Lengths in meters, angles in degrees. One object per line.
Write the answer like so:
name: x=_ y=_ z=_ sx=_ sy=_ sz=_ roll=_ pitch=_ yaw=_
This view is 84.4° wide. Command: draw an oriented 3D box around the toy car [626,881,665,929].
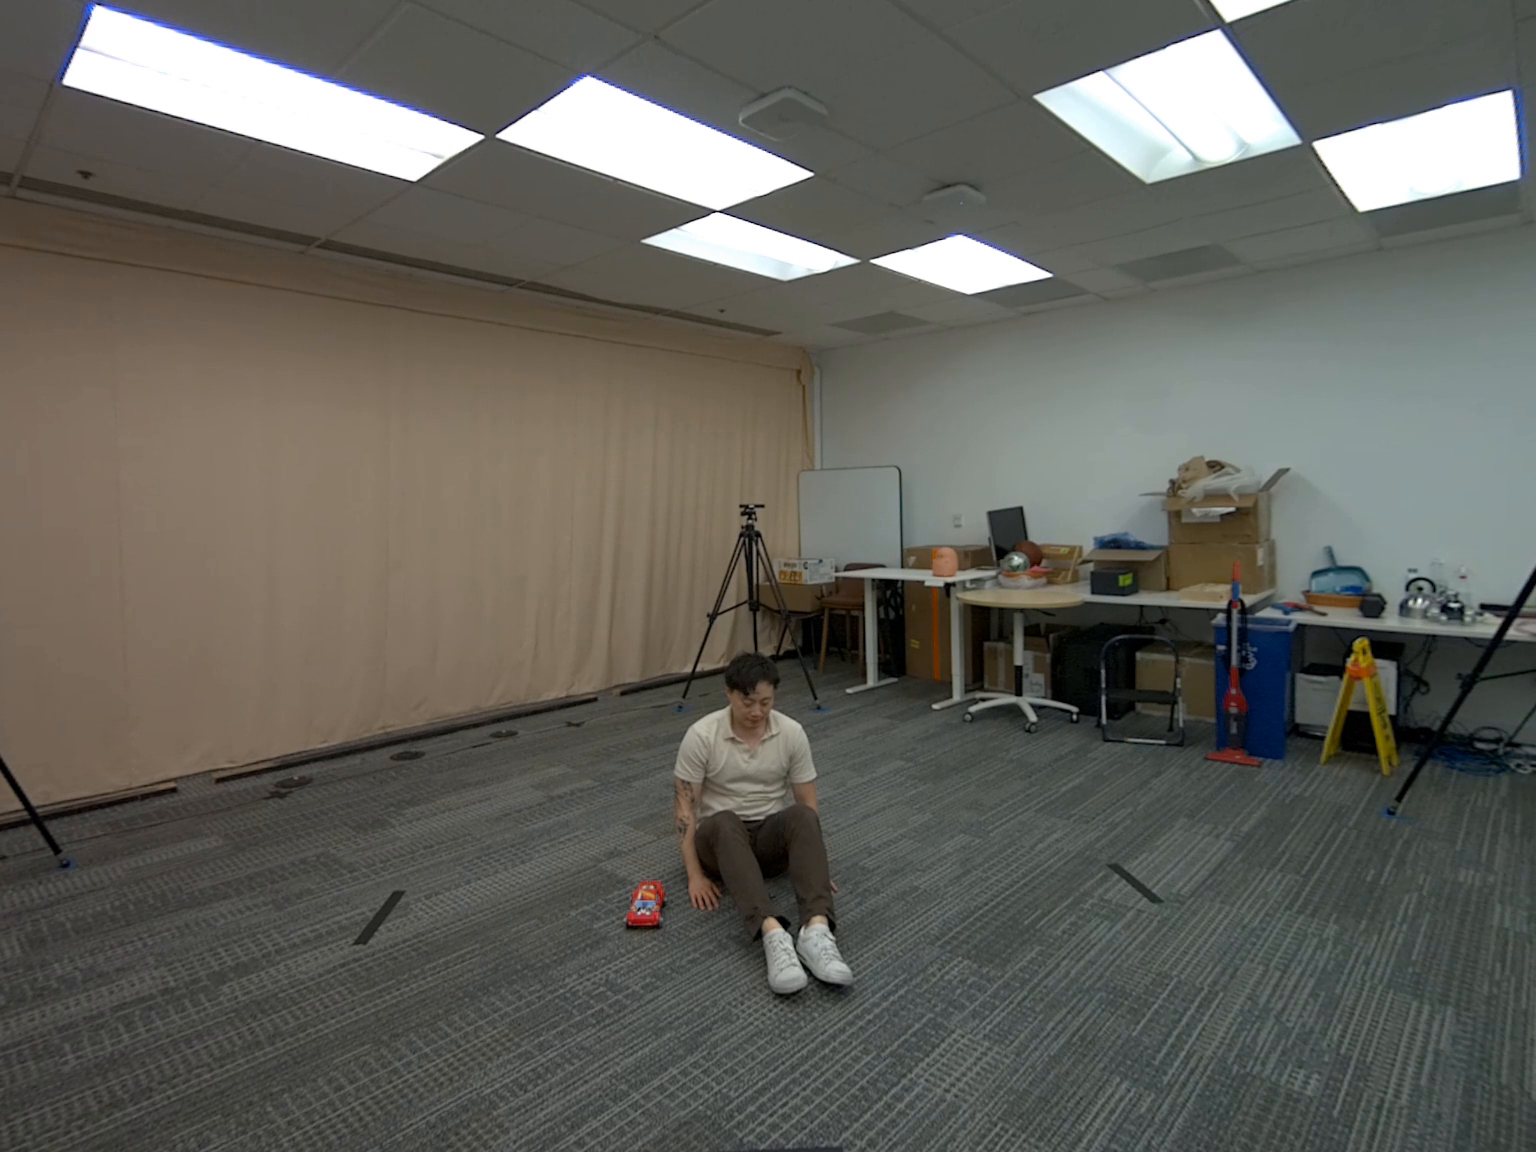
toy car: x=-0.417 y=1.130 z=2.888 sx=0.131 sy=0.082 sz=0.256 roll=-1 pitch=15 yaw=1
